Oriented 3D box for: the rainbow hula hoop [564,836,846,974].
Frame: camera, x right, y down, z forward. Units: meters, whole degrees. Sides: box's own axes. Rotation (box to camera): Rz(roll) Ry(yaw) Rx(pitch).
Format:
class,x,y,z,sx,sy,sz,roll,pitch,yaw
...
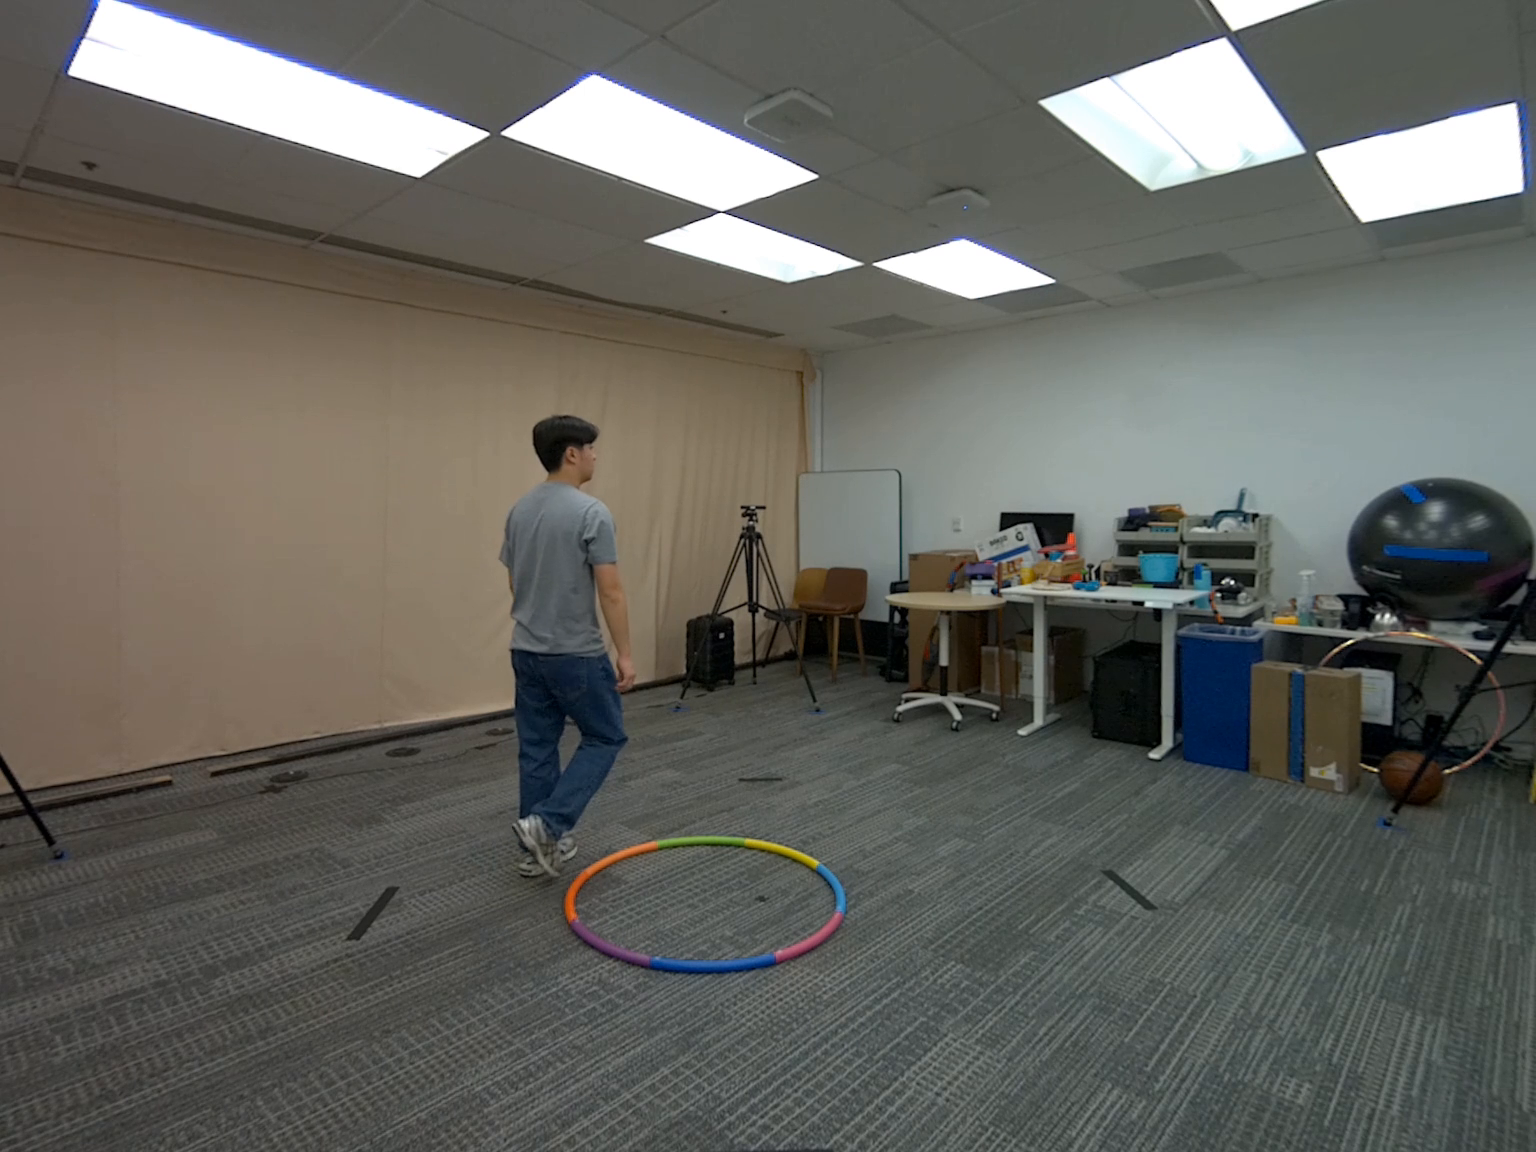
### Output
class,x,y,z,sx,sy,sz,roll,pitch,yaw
rainbow hula hoop,-0.219,1.113,2.990,0.978,0.035,0.982,-1,5,-2
